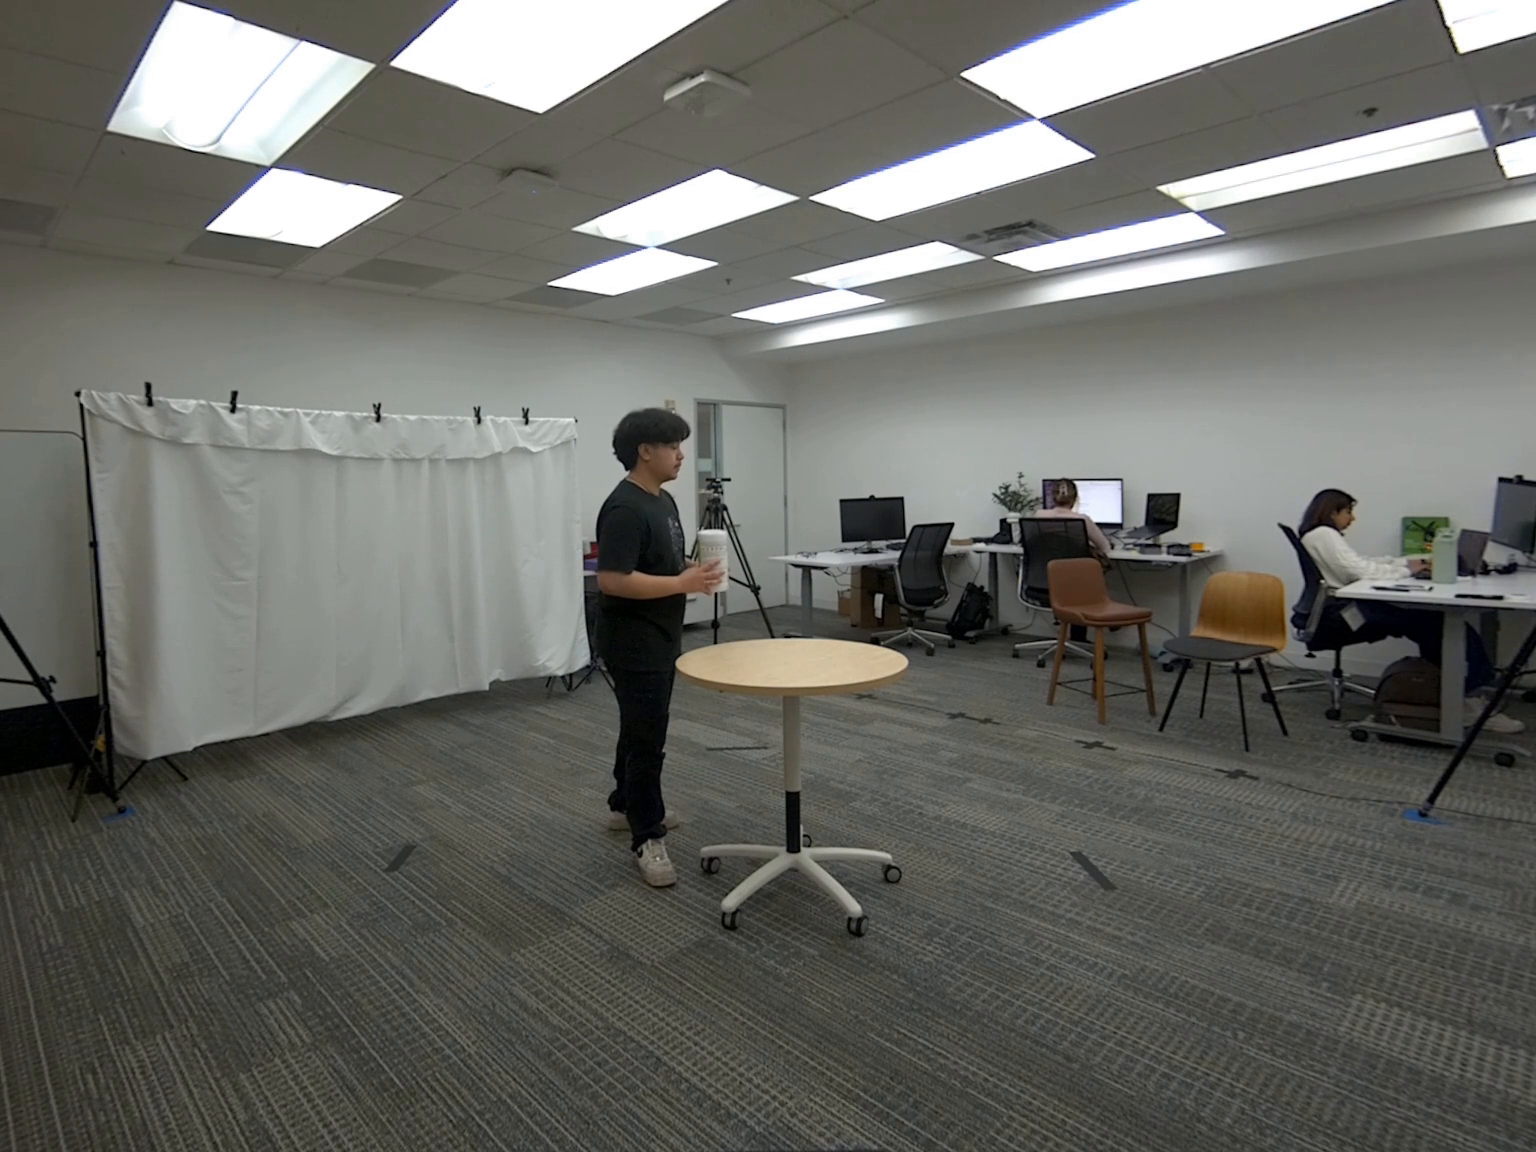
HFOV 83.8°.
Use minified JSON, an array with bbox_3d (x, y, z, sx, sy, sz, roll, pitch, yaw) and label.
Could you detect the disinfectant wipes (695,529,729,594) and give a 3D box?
[{"bbox_3d":[-0.202,-0.056,3.086,0.118,0.216,0.118,0,7,-2],"label":"disinfectant wipes"}]
